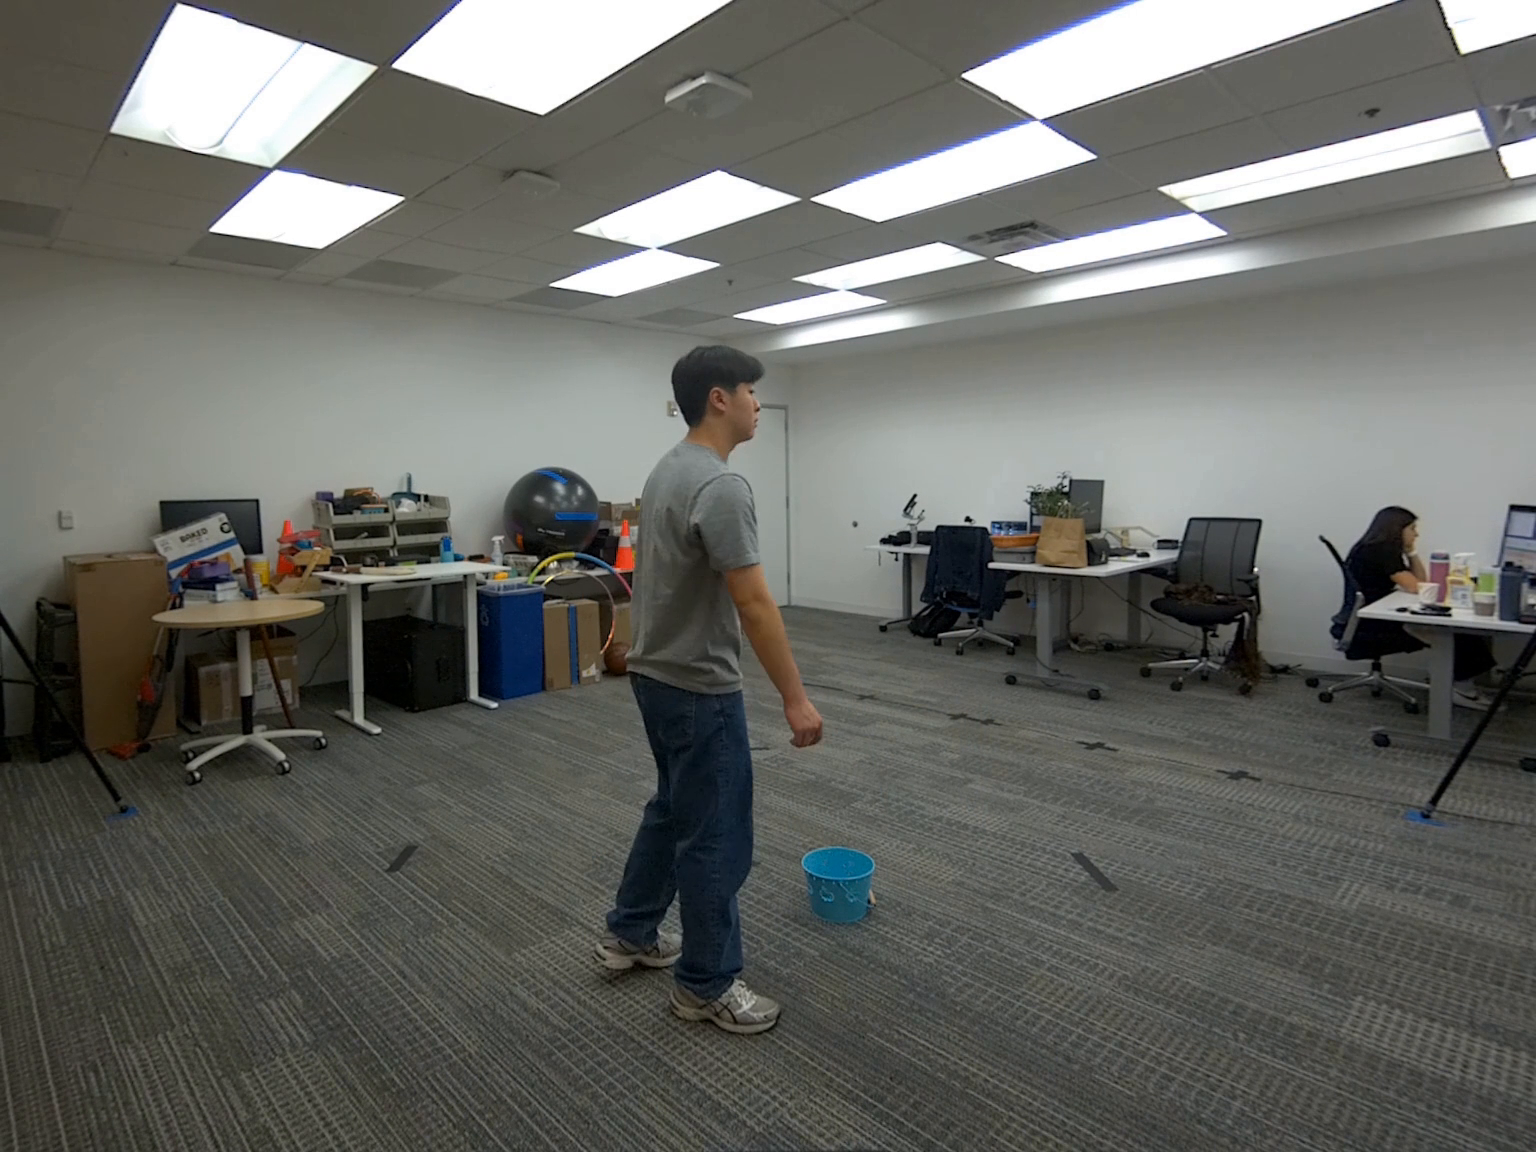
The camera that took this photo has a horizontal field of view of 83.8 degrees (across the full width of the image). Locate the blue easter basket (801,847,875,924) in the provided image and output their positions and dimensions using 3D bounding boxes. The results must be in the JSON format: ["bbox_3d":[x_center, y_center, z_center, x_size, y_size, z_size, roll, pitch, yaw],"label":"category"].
[{"bbox_3d":[0.236,1.002,2.760,0.243,0.155,0.245,-1,5,-2],"label":"blue easter basket"}]
